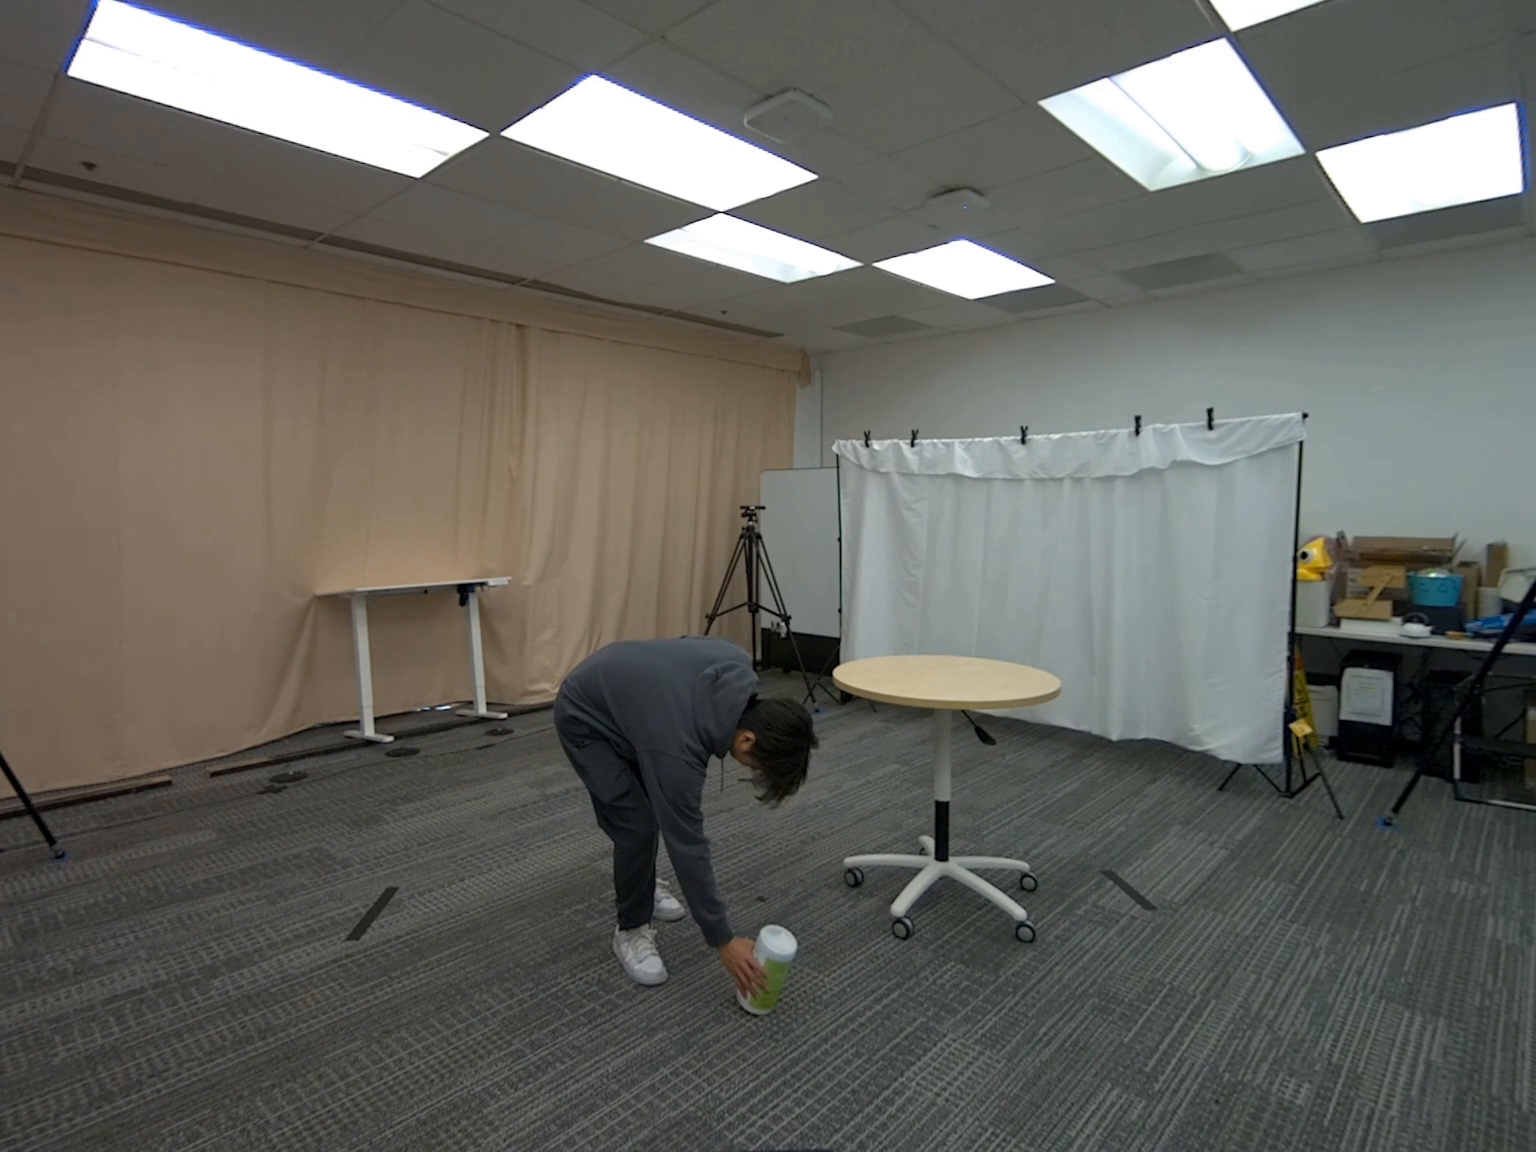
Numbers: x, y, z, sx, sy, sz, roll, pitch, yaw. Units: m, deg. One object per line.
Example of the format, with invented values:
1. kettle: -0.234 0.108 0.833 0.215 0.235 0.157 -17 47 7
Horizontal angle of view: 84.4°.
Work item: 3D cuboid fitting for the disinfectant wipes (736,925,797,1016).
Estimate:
1. disinfectant wipes: 0.005 1.088 2.308 0.117 0.216 0.119 15 16 -6
